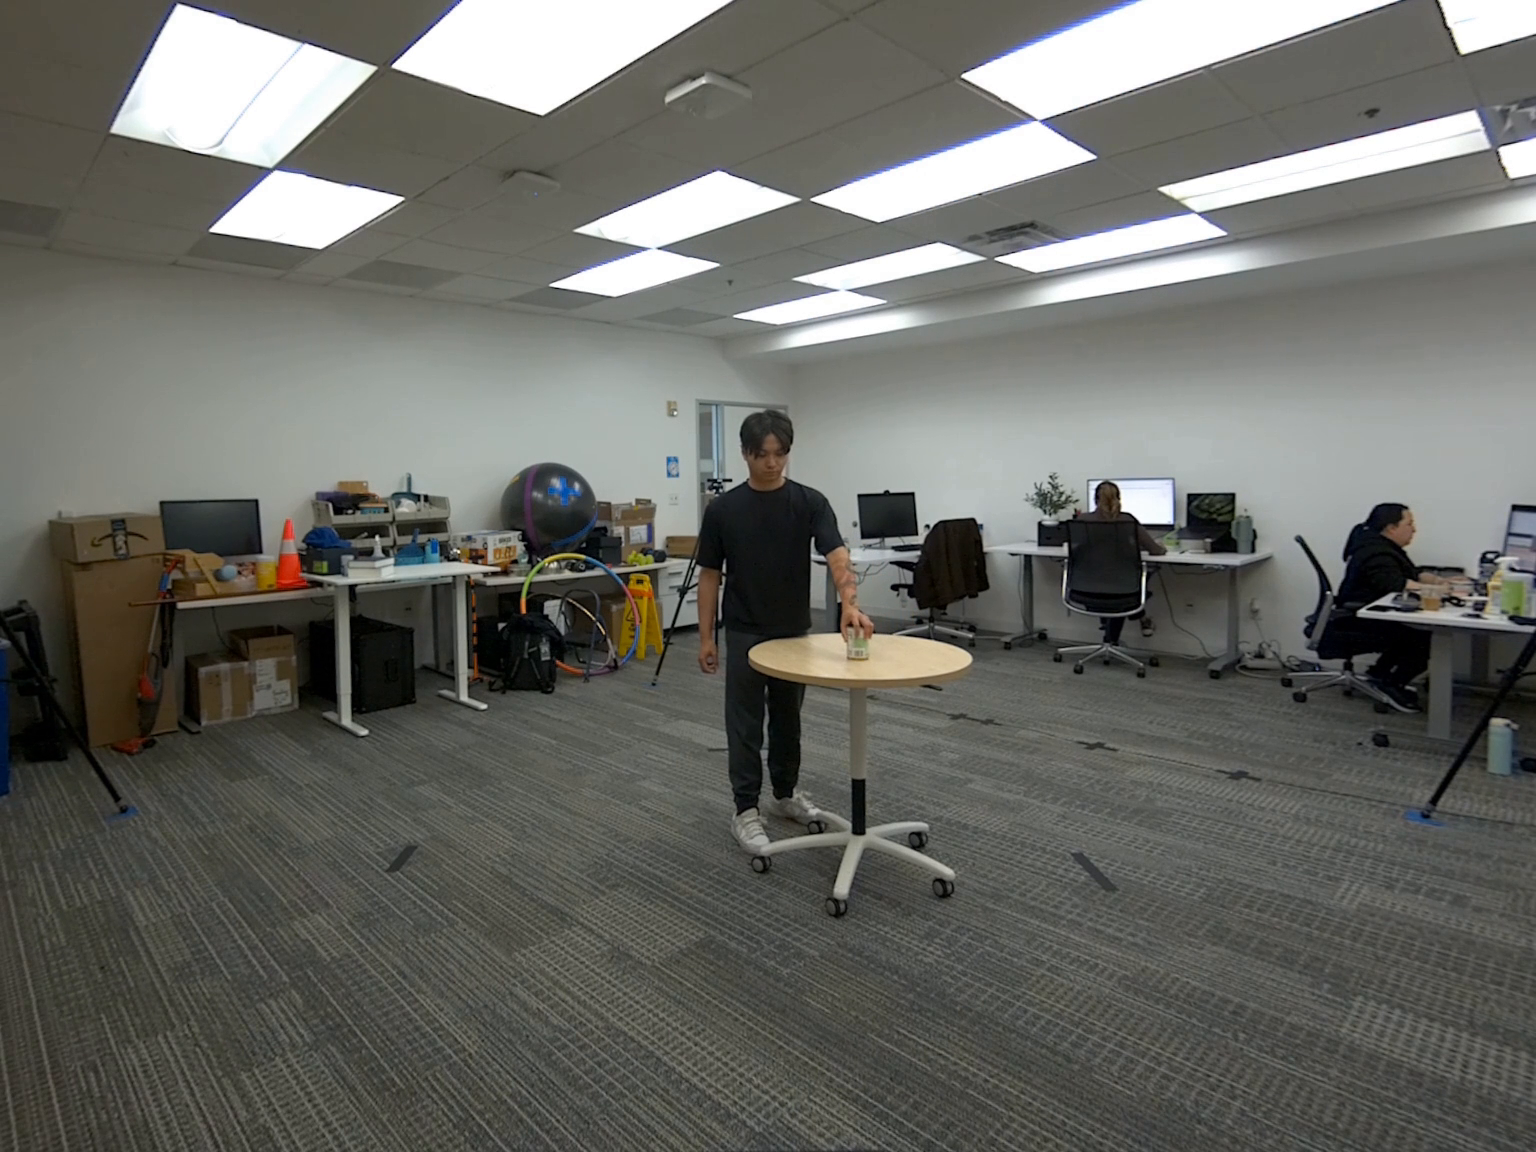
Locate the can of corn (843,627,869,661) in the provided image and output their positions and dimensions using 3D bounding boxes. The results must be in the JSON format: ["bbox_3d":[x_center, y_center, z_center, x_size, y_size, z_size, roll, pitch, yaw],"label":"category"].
[{"bbox_3d":[0.313,0.224,2.893,0.074,0.110,0.074,1,5,-2],"label":"can of corn"}]
